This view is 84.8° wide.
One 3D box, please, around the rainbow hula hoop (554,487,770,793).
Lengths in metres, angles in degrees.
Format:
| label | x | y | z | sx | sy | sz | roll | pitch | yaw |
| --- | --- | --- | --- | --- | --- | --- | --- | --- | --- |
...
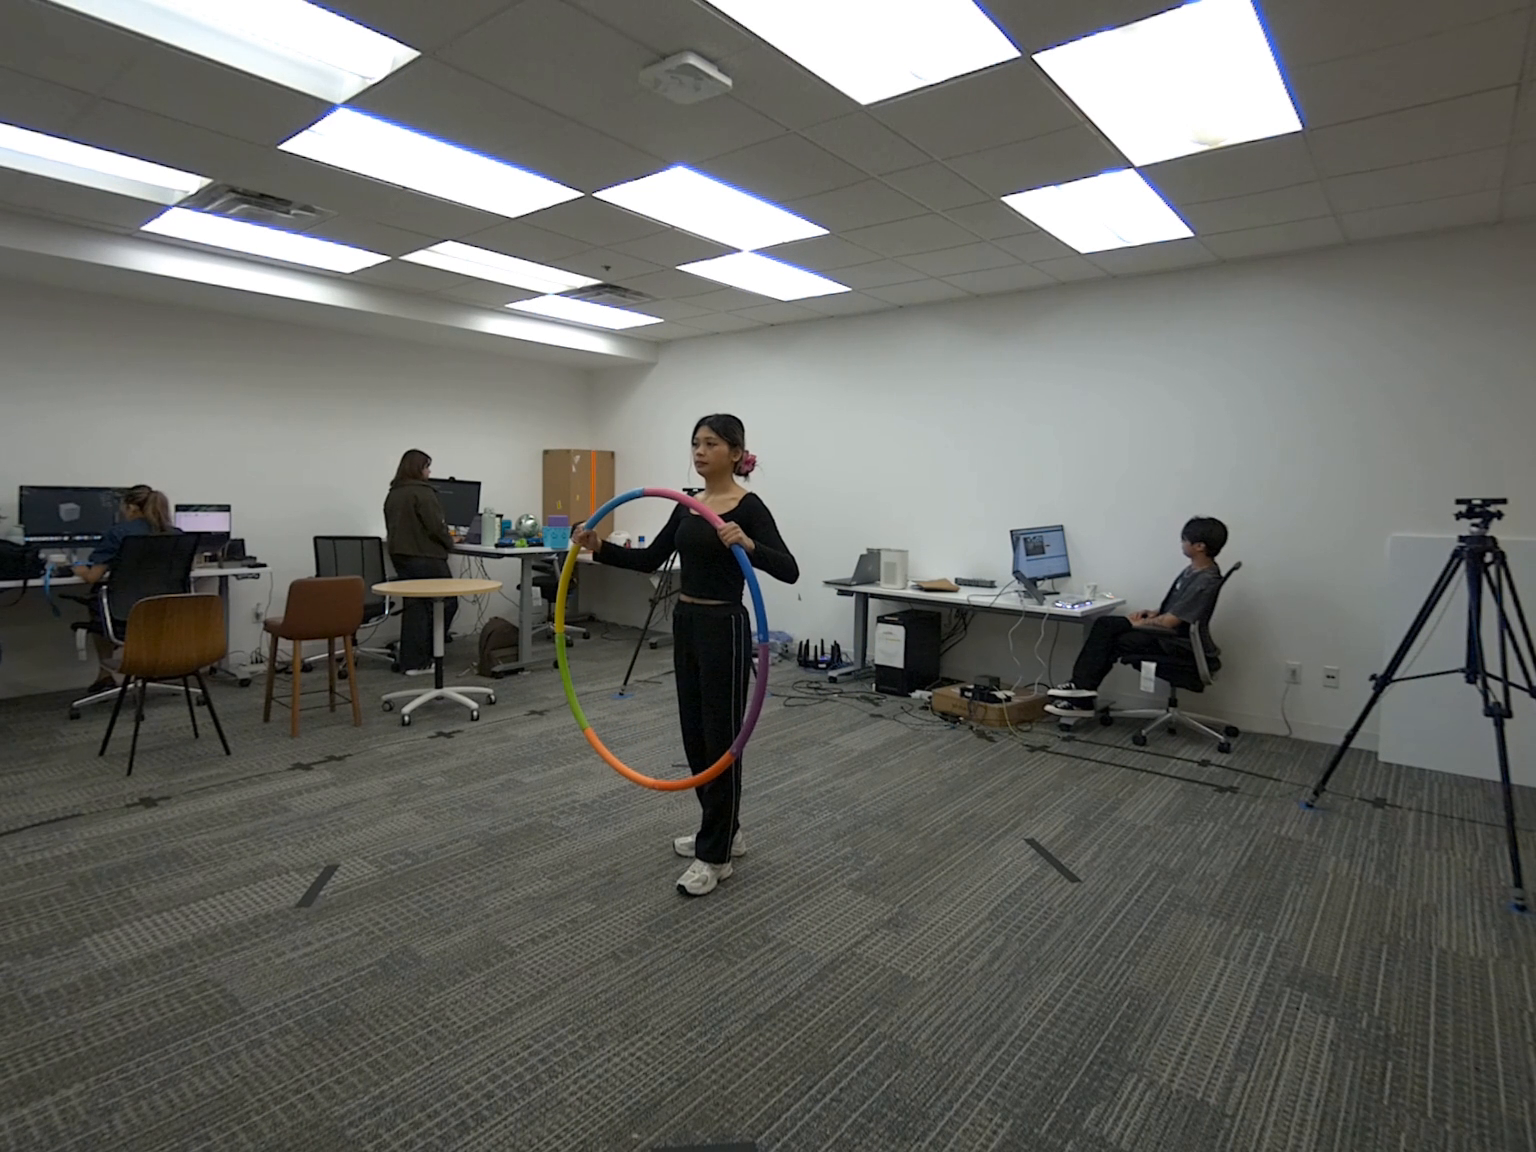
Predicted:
| label | x | y | z | sx | sy | sz | roll | pitch | yaw |
| --- | --- | --- | --- | --- | --- | --- | --- | --- | --- |
| rainbow hula hoop | -0.393 | 0.199 | 2.833 | 1.011 | 0.977 | 0.034 | 4 | 2 | 39 |
